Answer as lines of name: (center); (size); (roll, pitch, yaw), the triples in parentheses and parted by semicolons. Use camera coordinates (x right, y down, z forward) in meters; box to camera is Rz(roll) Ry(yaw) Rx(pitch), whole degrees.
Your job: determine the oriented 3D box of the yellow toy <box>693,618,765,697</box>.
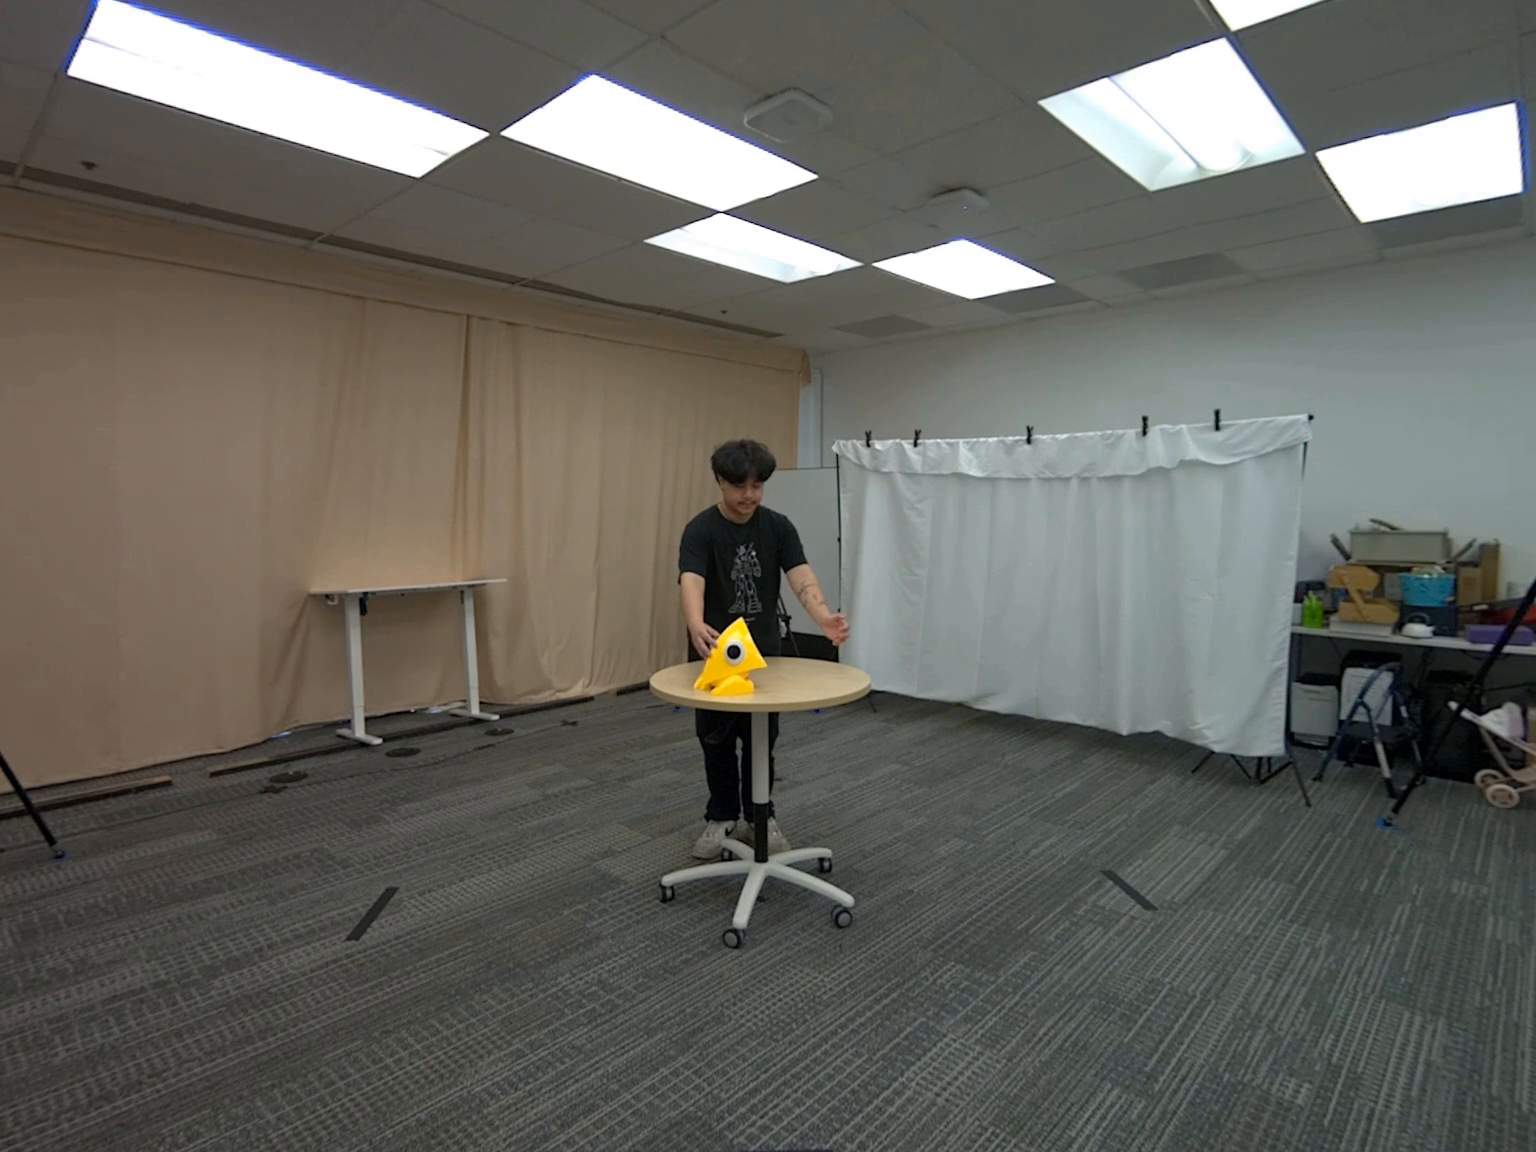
yellow toy: (-0.129, 0.255, 2.771); (0.187, 0.230, 0.211); (-2, 5, -33)
